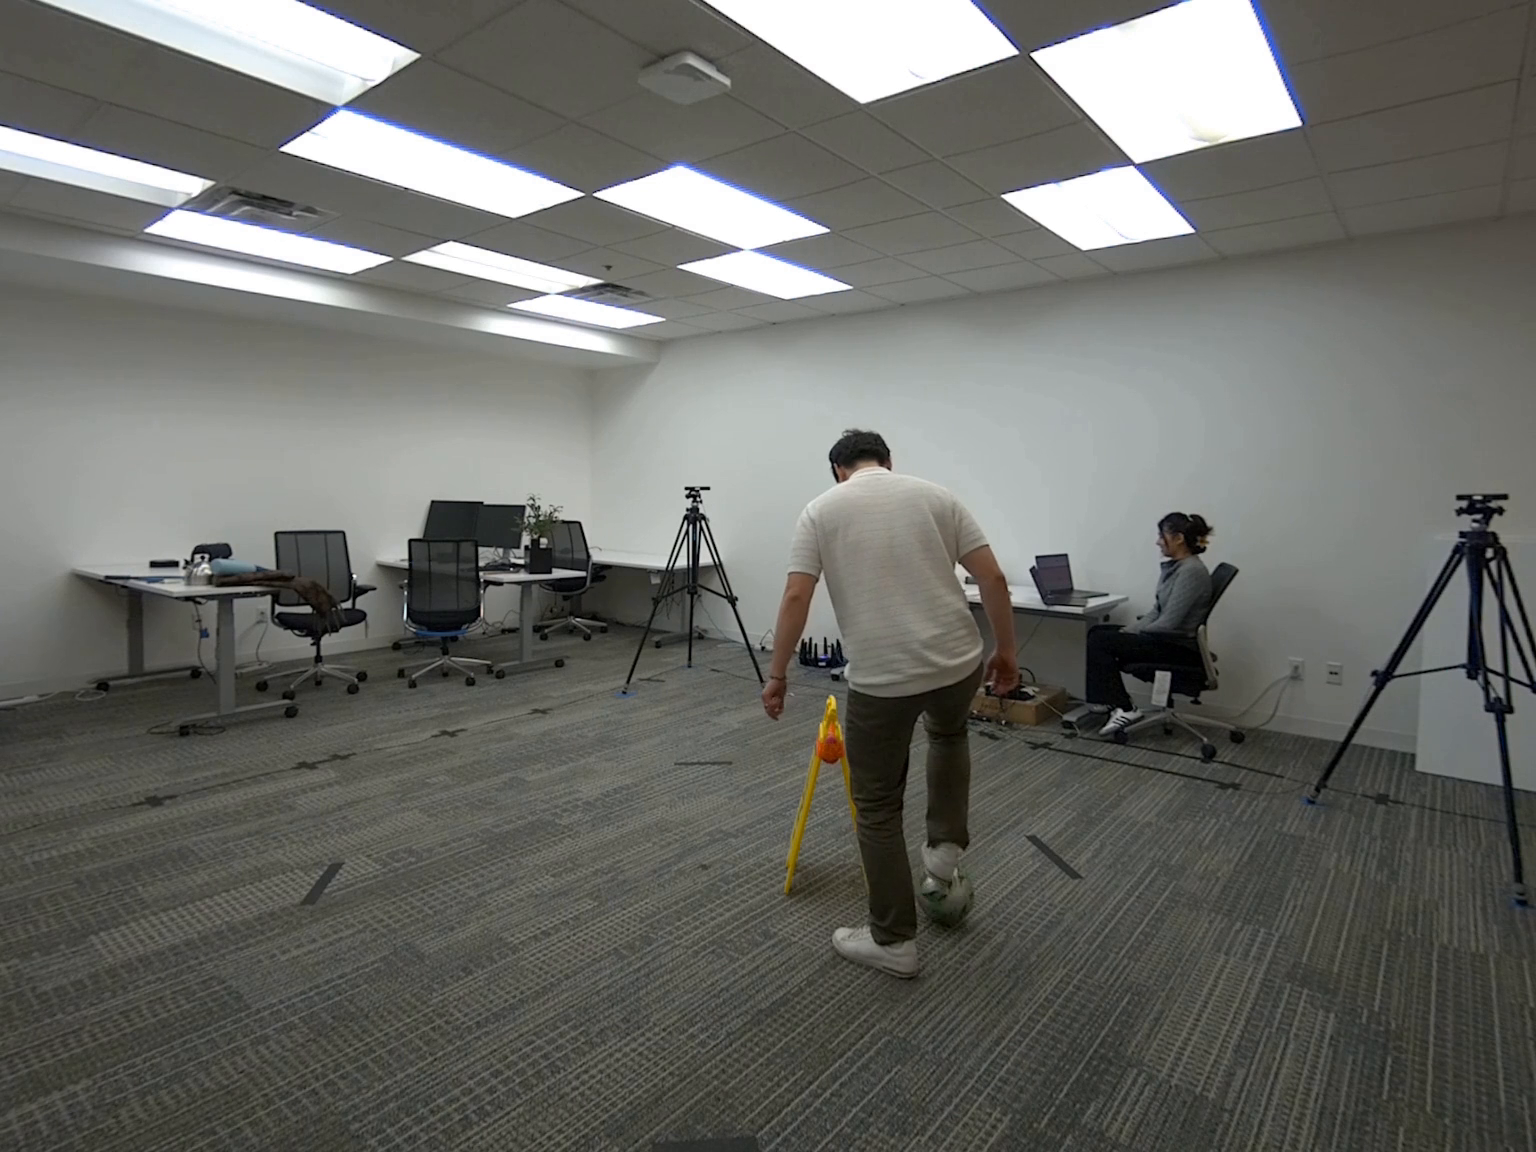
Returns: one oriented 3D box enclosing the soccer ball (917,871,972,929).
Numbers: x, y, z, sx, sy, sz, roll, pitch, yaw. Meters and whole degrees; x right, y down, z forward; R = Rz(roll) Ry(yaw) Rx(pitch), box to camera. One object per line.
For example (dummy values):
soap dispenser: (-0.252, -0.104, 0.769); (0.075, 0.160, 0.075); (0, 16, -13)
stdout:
soccer ball: (0.545, 1.023, 2.766); (0.187, 0.187, 0.188); (0, 4, -2)
